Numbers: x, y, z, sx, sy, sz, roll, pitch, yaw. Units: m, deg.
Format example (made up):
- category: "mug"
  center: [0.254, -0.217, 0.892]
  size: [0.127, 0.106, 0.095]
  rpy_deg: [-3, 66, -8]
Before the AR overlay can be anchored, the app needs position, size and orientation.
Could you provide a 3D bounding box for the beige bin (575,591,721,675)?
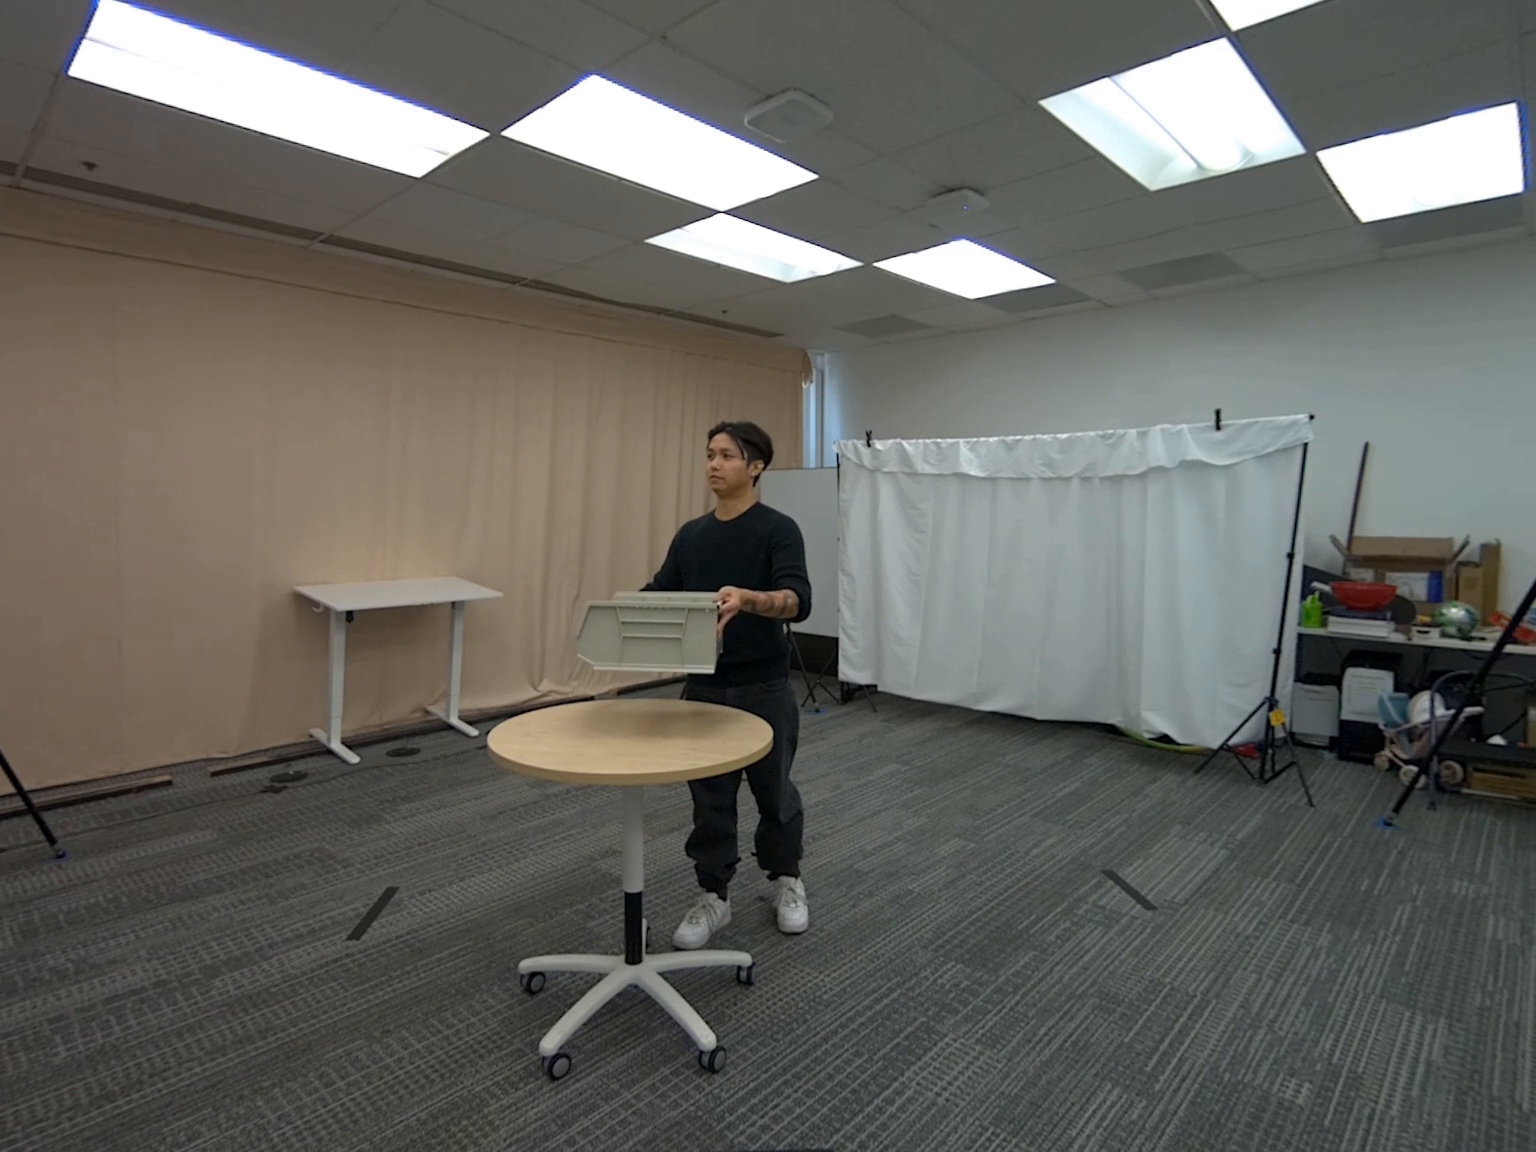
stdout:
- category: "beige bin"
  center: [-0.313, 0.147, 2.364]
  size: [0.378, 0.189, 0.422]
  rpy_deg: [4, 2, 0]
